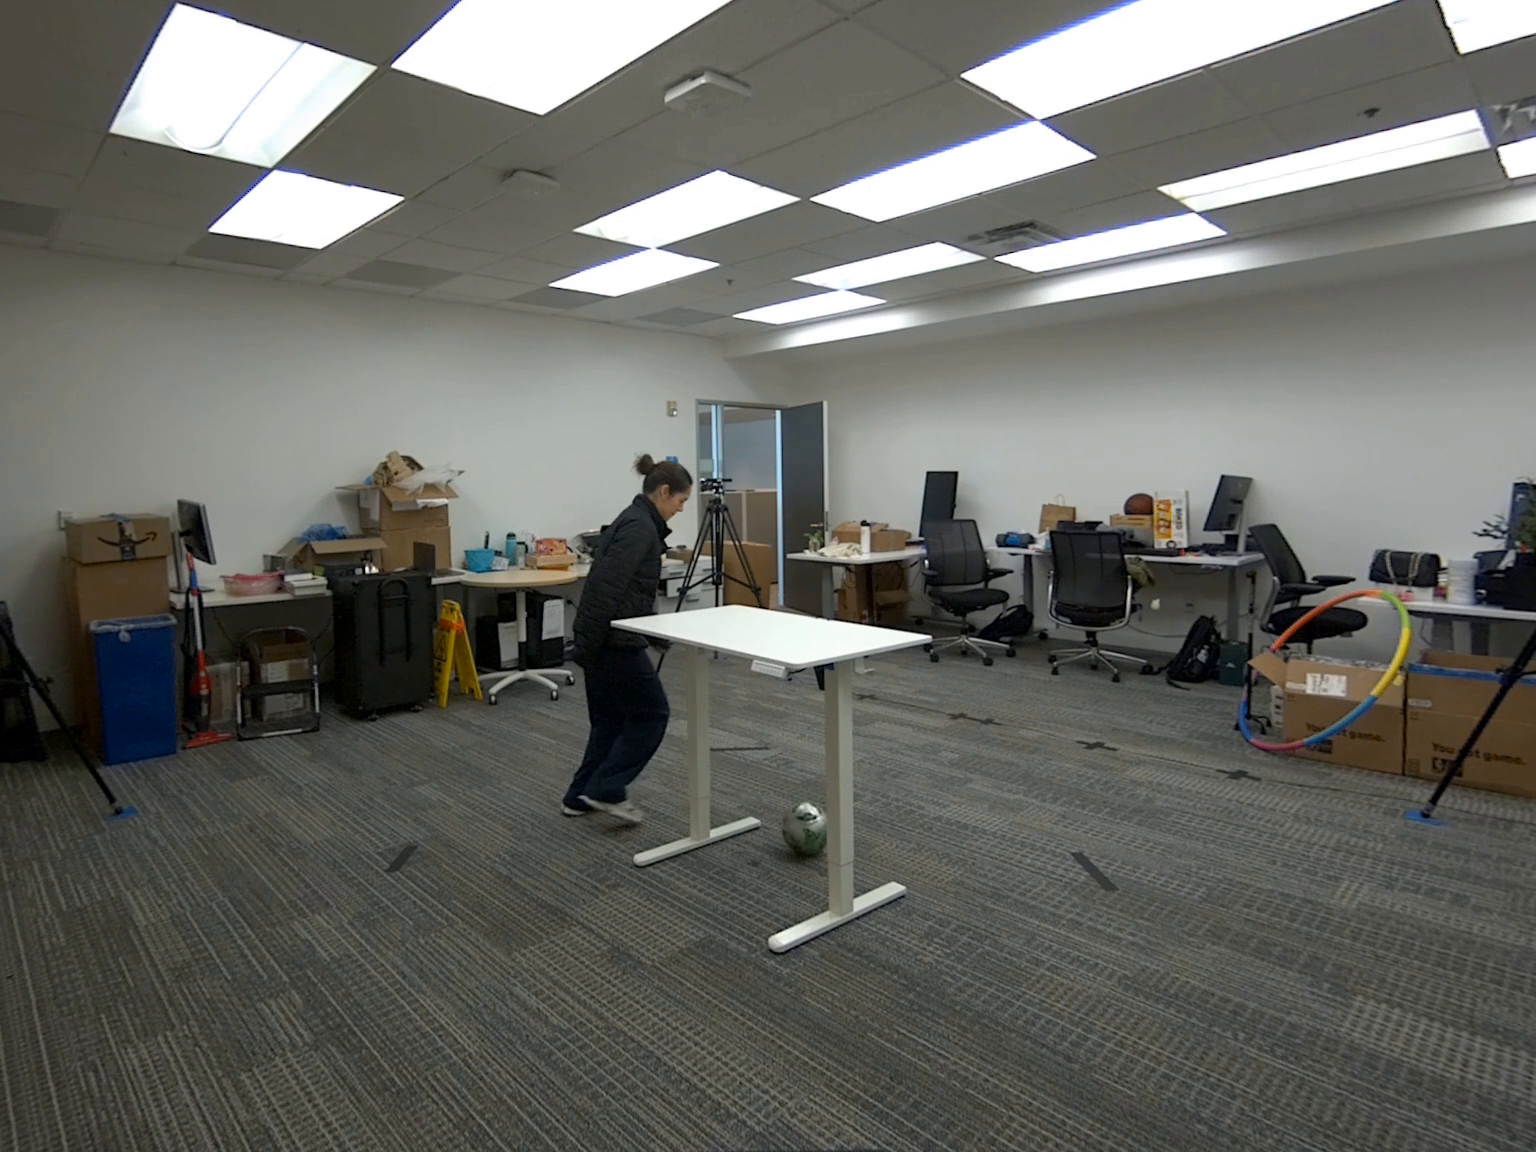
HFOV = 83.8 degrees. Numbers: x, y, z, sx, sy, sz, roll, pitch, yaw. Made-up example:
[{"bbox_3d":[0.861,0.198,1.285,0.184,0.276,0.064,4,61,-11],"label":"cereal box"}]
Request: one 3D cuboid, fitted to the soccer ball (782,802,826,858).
[{"bbox_3d":[0.147,0.933,3.175,0.187,0.187,0.188,-1,5,-2],"label":"soccer ball"}]
